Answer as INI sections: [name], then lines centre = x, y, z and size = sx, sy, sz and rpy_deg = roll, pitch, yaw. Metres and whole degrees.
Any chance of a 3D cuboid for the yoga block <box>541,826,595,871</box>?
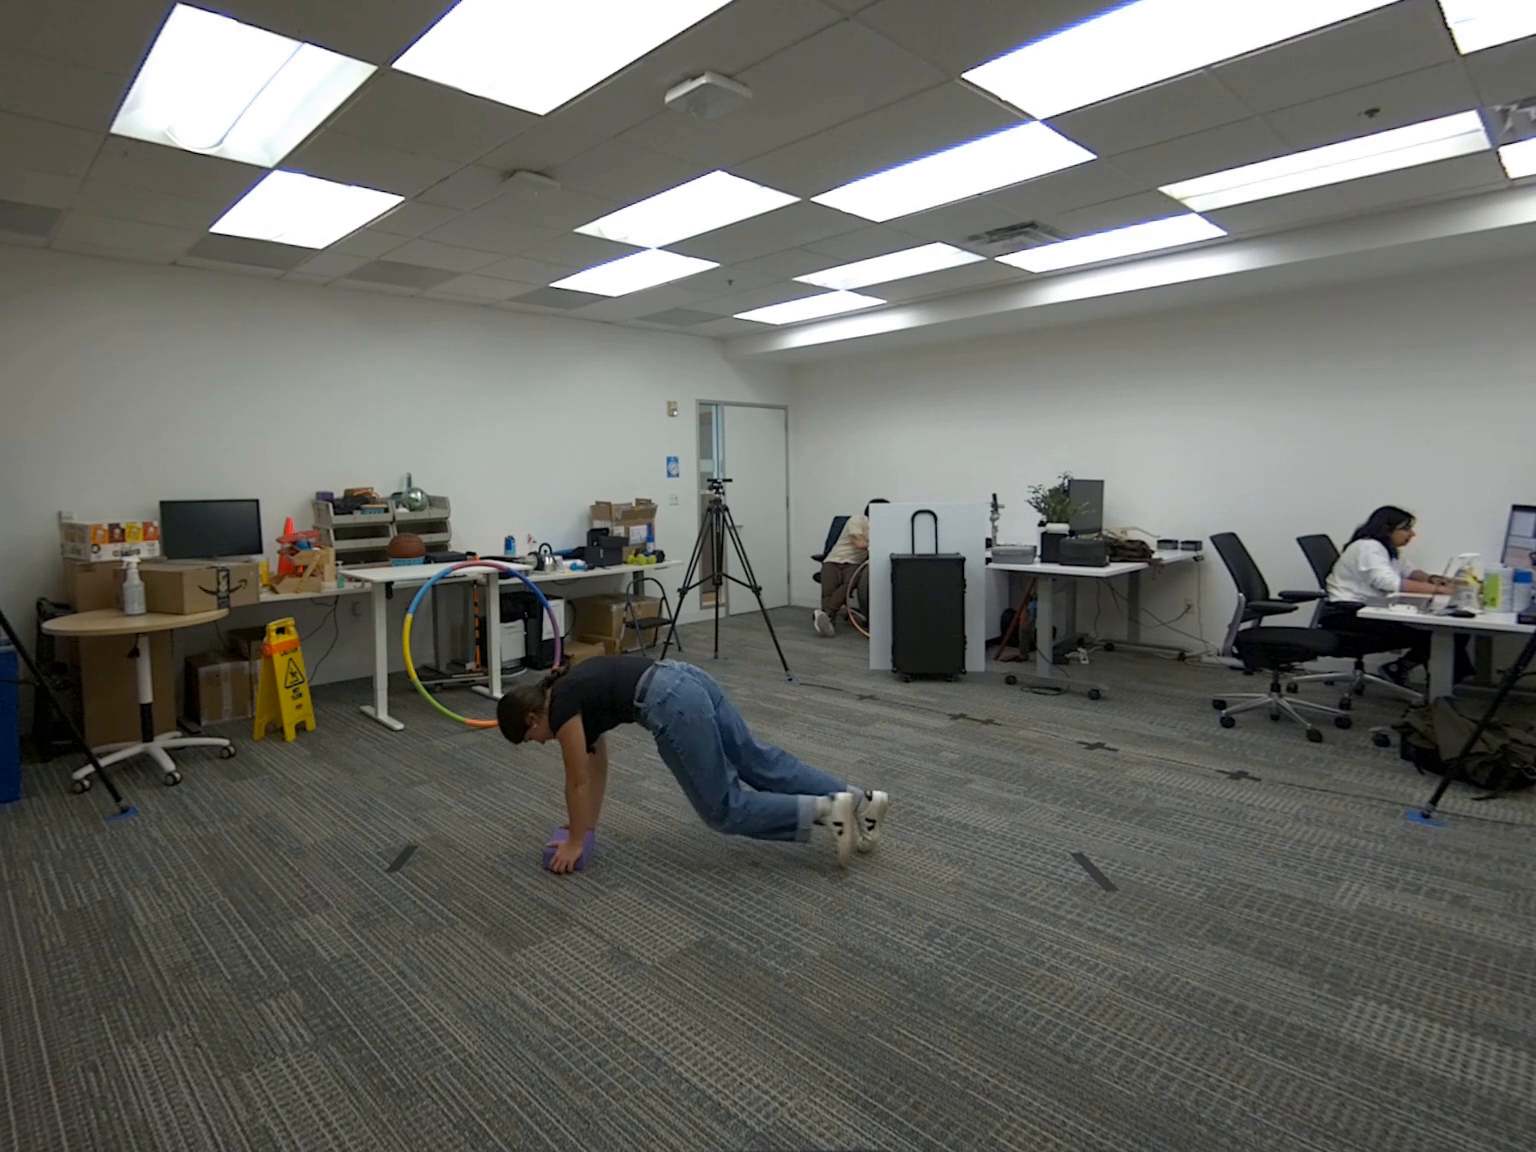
[yoga block]
centre = -0.741, 1.012, 3.198
size = 0.149, 0.076, 0.230
rpy_deg = 0, 7, 1
